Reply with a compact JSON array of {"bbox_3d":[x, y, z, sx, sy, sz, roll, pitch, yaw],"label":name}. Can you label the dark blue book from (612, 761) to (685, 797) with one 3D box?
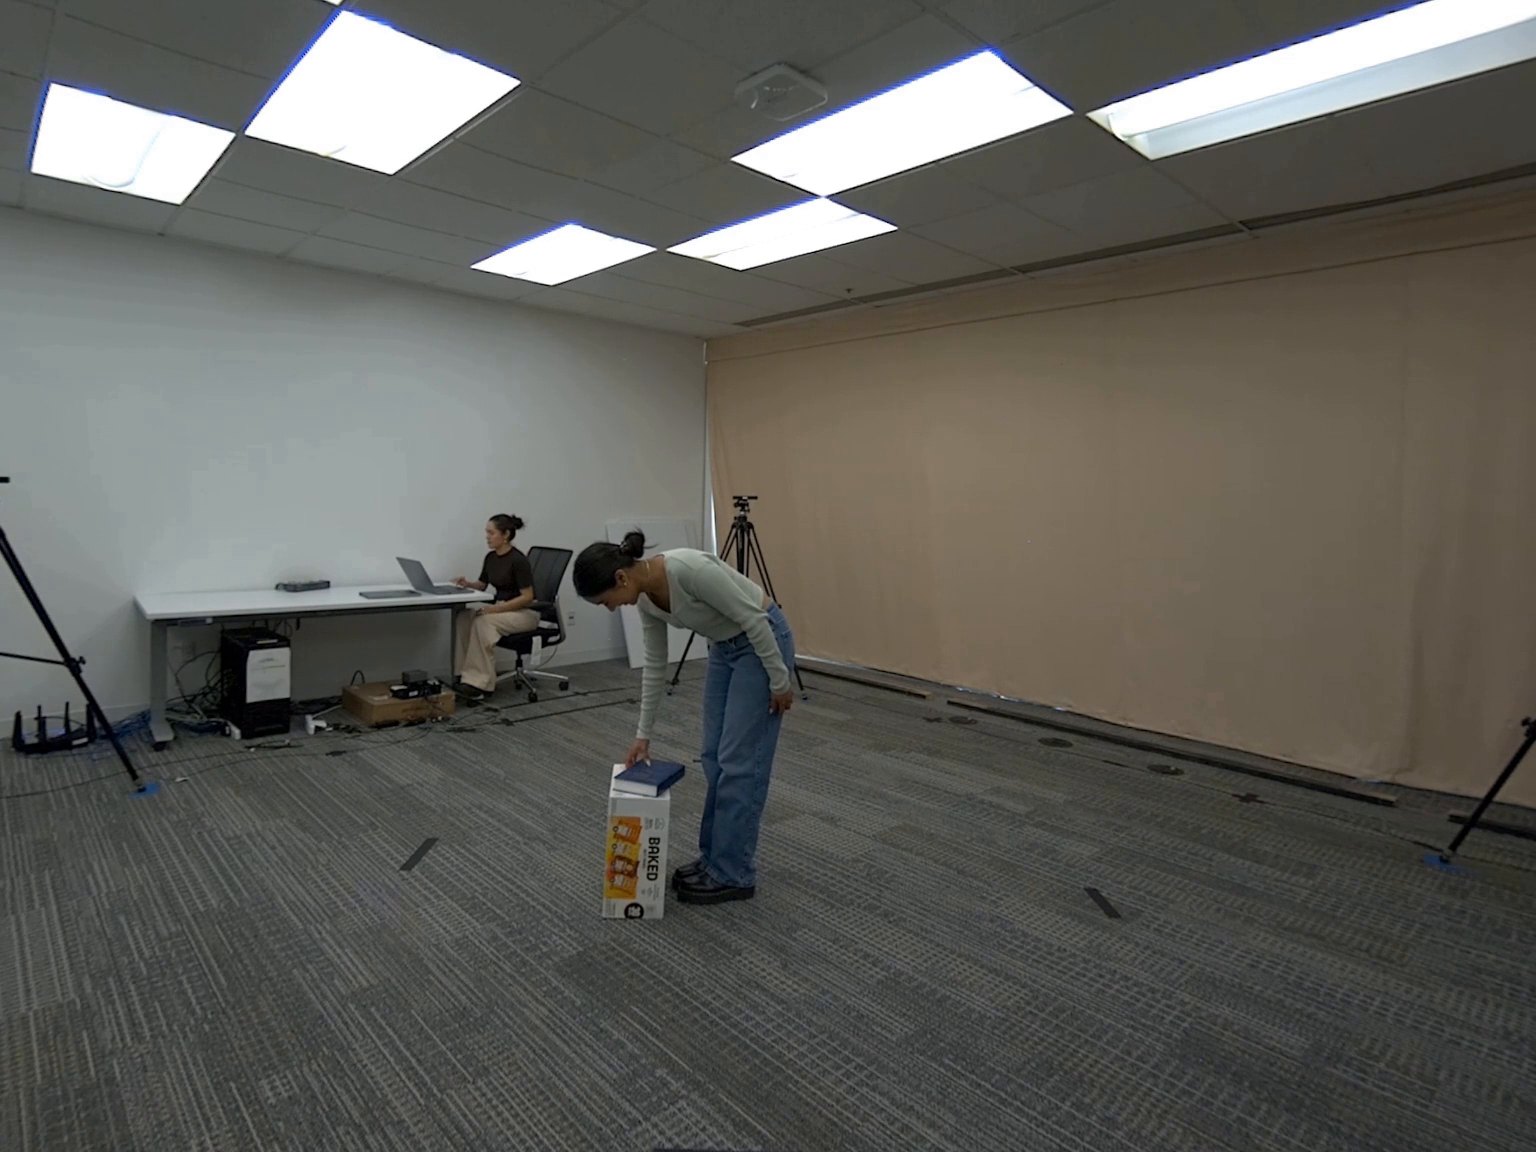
[{"bbox_3d":[-0.409,0.696,2.882,0.166,0.045,0.242,5,5,16],"label":"dark blue book"}]
